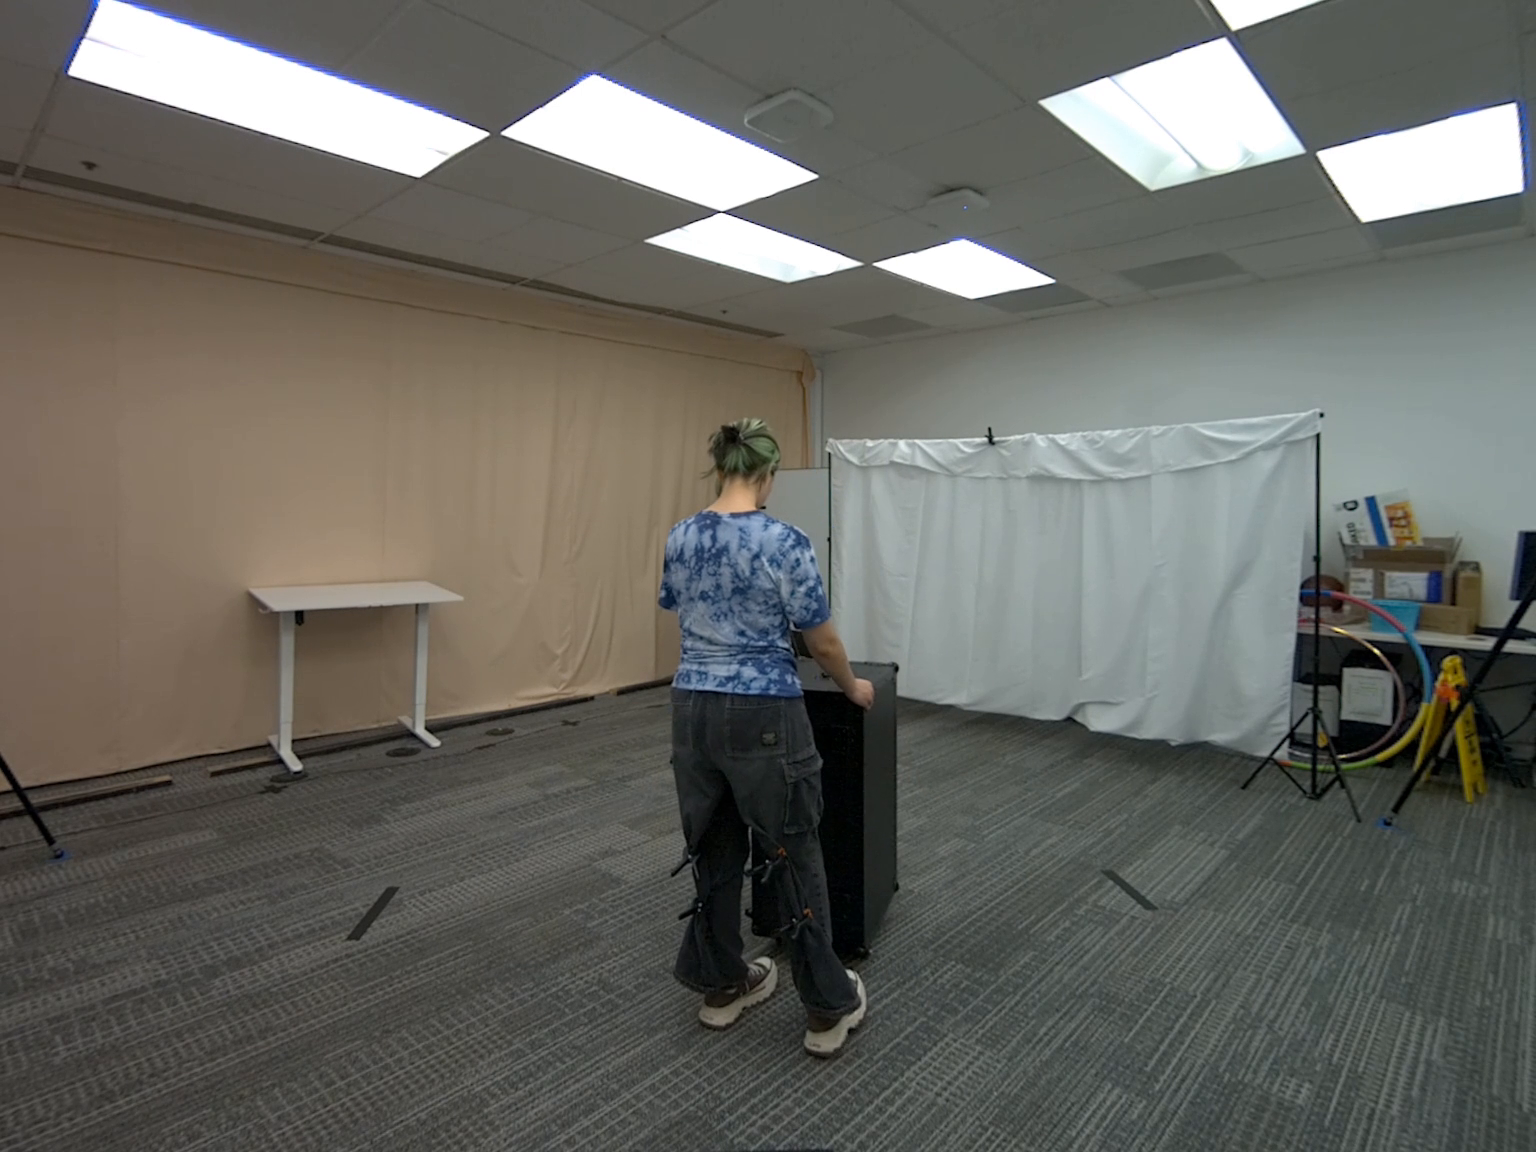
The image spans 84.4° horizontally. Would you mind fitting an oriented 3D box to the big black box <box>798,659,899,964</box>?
[{"bbox_3d":[0.192,0.743,2.726,0.405,0.859,0.511,0,4,21],"label":"big black box"}]
